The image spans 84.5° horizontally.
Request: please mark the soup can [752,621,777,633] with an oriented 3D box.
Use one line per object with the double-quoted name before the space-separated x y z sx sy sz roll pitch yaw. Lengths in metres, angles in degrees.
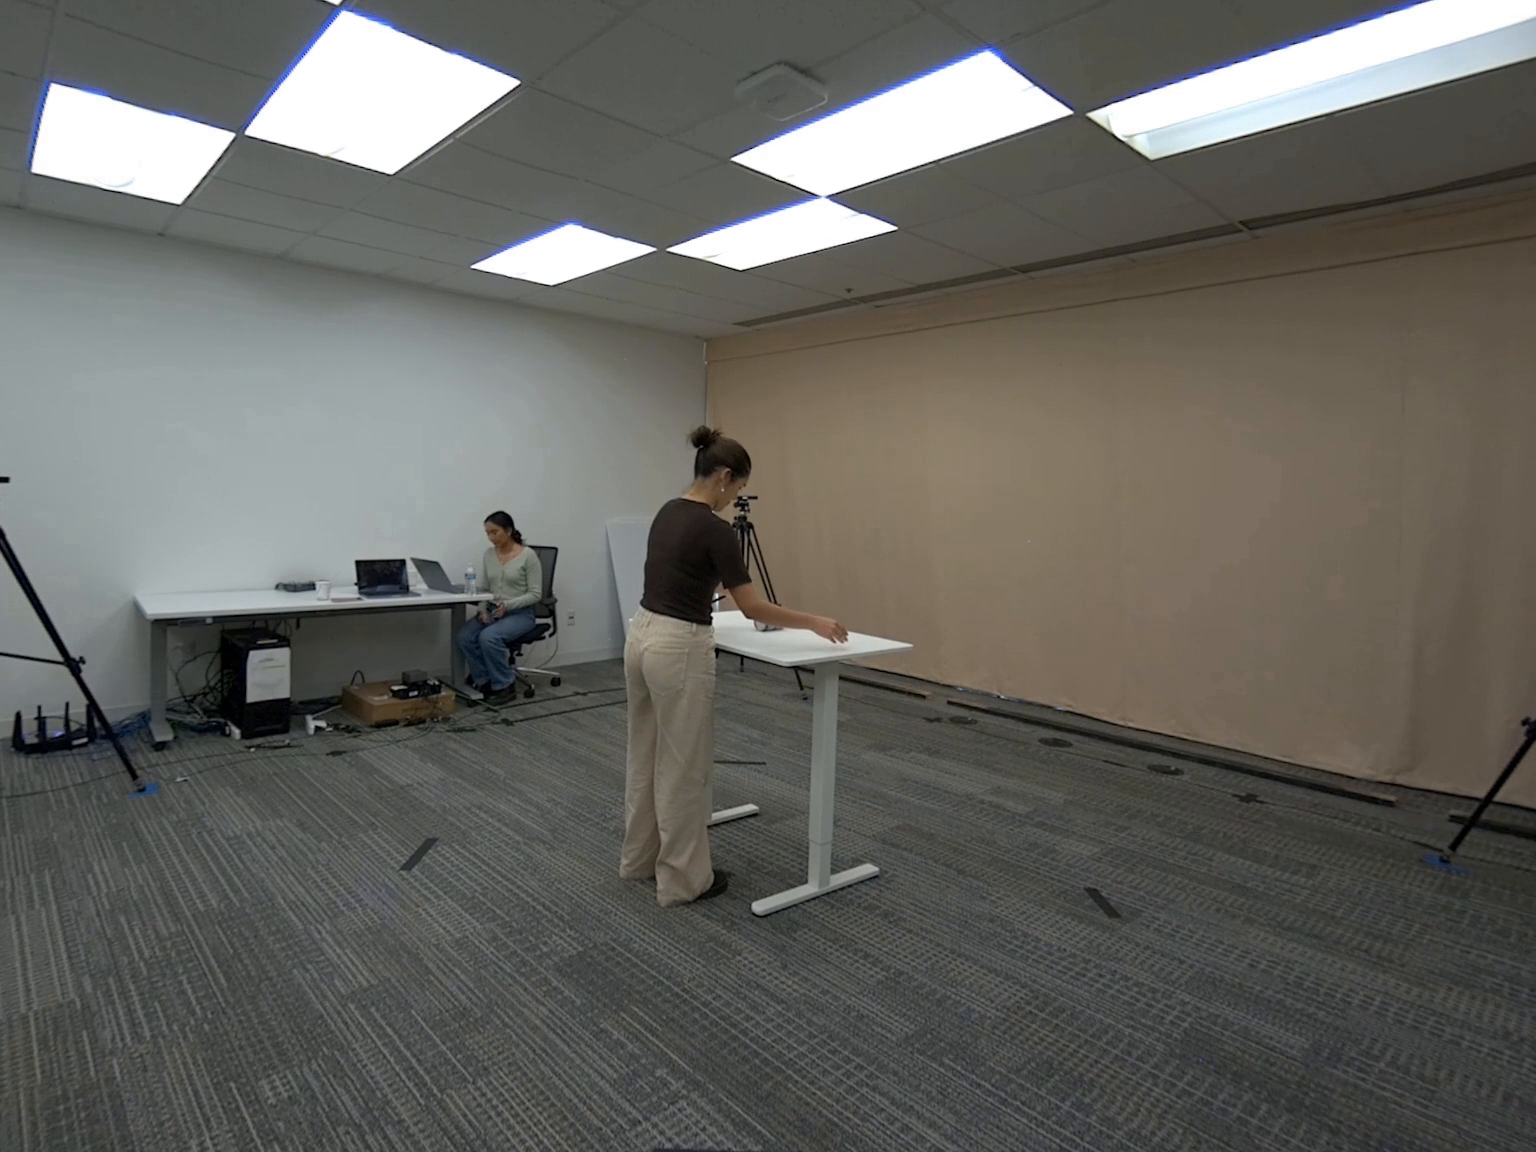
"soup can" 0.008 0.177 3.251 0.119 0.067 0.069 -4 7 -37
